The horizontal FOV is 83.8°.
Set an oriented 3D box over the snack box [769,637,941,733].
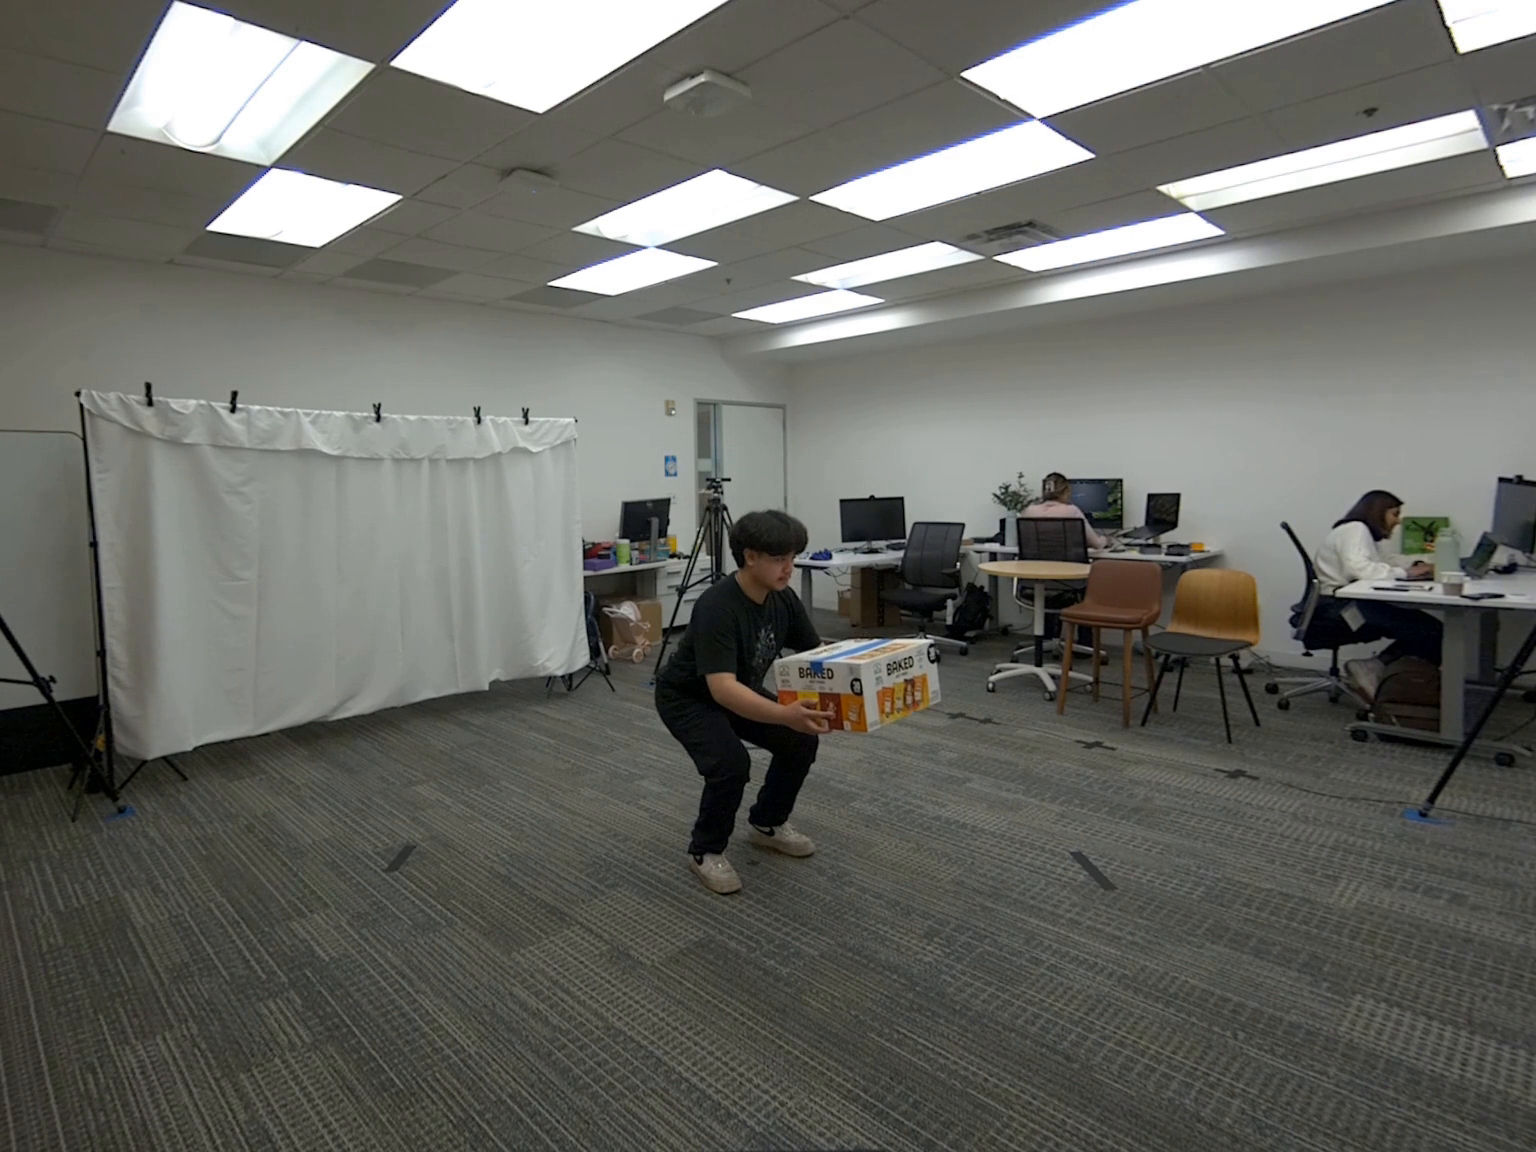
[{"bbox_3d":[0.283,0.335,2.714,0.349,0.205,0.395,-4,3,44],"label":"snack box"}]
